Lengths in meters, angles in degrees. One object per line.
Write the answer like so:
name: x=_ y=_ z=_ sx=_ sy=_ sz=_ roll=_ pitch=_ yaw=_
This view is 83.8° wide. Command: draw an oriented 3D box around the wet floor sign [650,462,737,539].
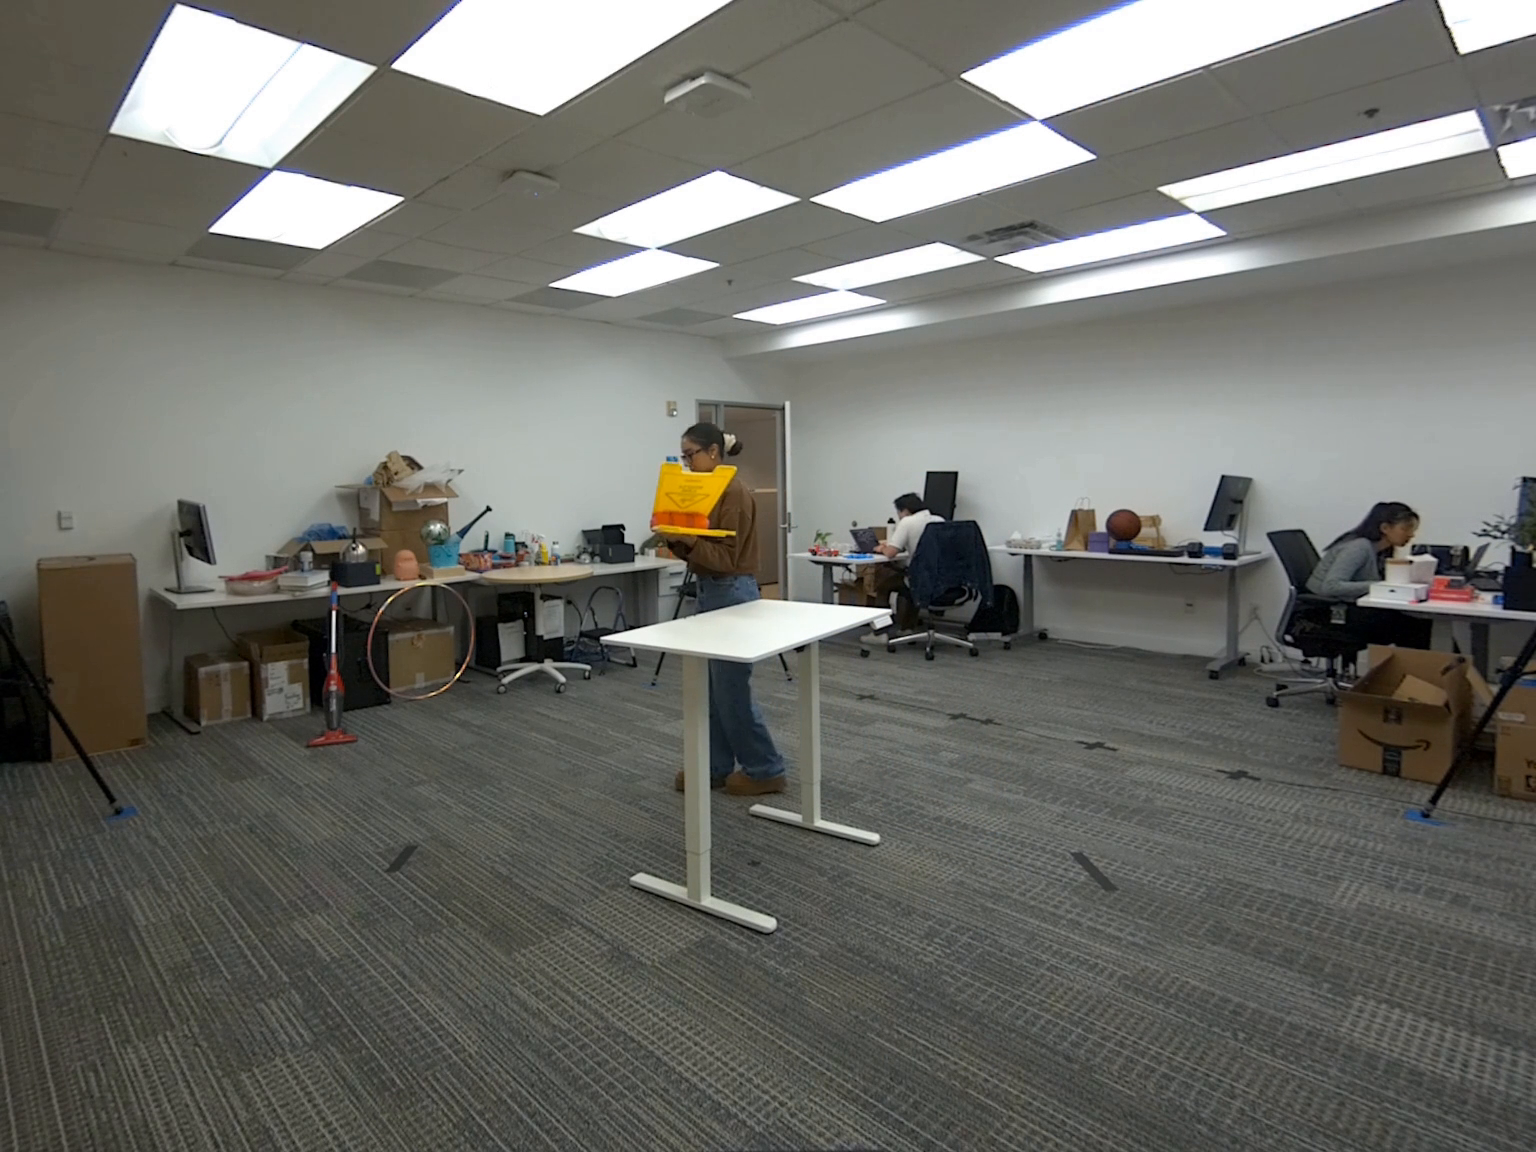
wet floor sign: x=-0.331 y=-0.230 z=3.401 sx=0.278 sy=0.292 sz=0.651 roll=6 pitch=-7 yaw=-16
